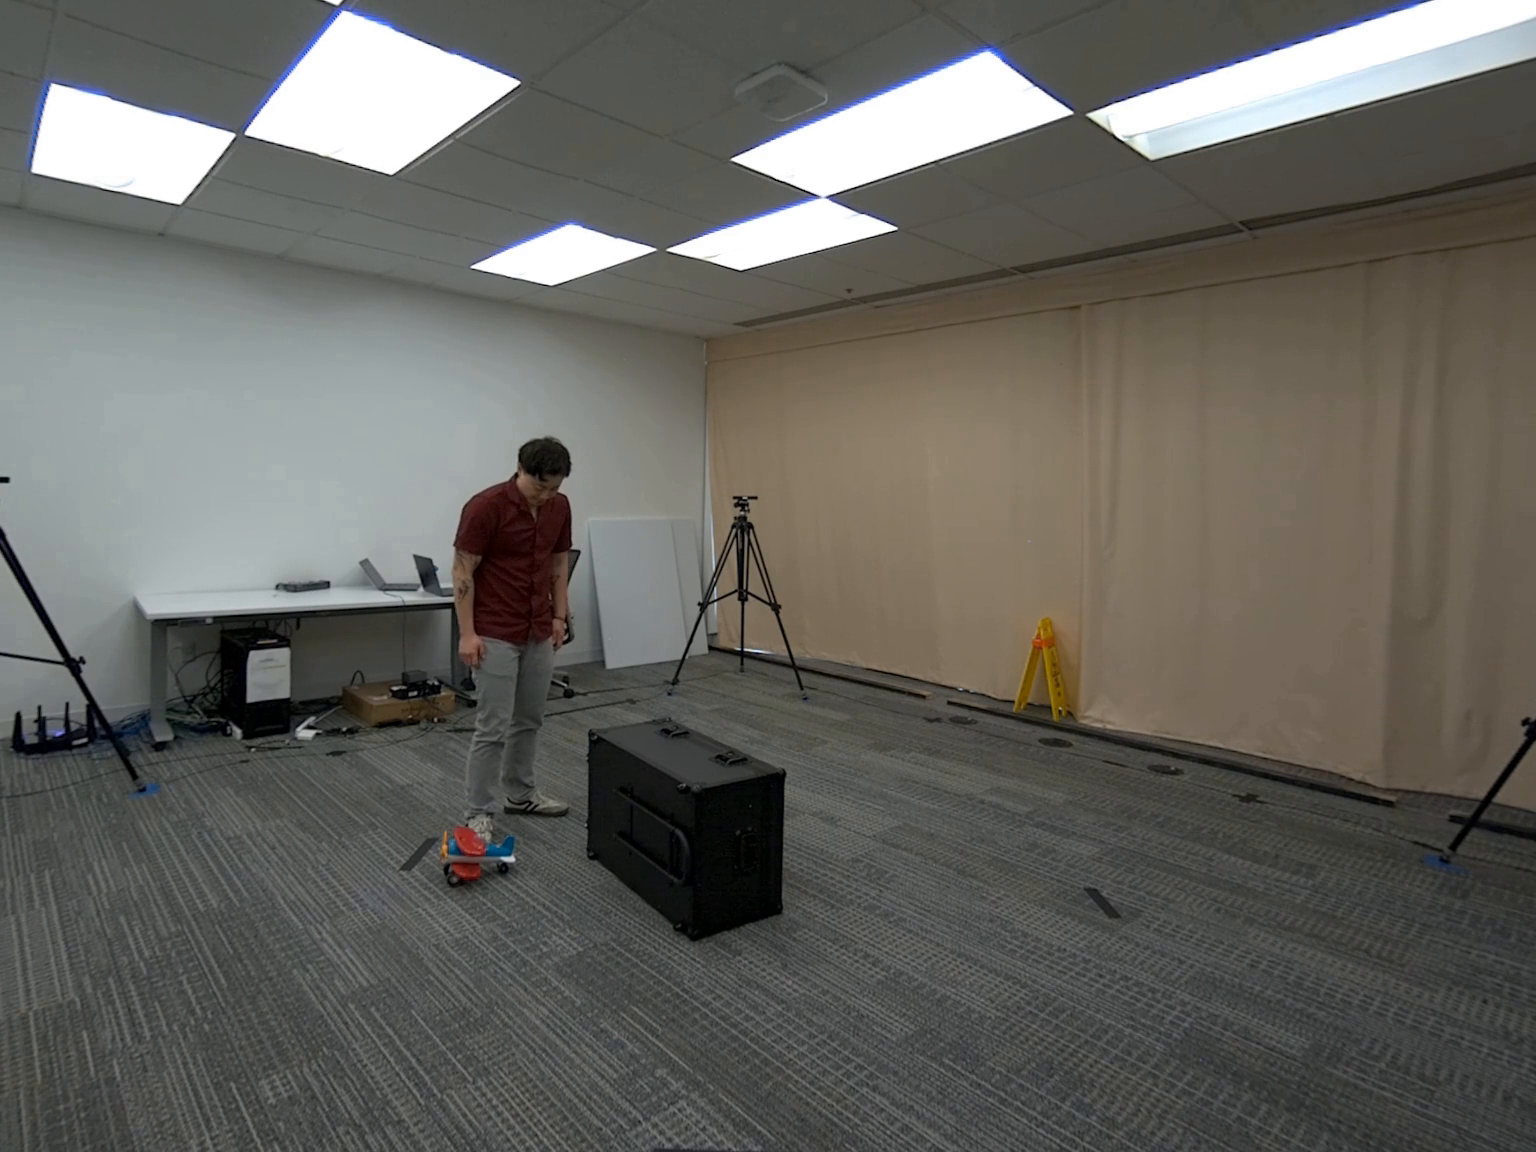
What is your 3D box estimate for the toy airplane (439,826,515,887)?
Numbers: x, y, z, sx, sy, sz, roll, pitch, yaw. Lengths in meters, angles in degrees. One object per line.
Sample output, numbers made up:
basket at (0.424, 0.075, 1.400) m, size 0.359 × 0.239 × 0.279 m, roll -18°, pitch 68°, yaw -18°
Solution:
toy airplane at (-1.061, 1.008, 3.057) m, size 0.257 × 0.156 × 0.254 m, roll 4°, pitch 7°, yaw 33°
